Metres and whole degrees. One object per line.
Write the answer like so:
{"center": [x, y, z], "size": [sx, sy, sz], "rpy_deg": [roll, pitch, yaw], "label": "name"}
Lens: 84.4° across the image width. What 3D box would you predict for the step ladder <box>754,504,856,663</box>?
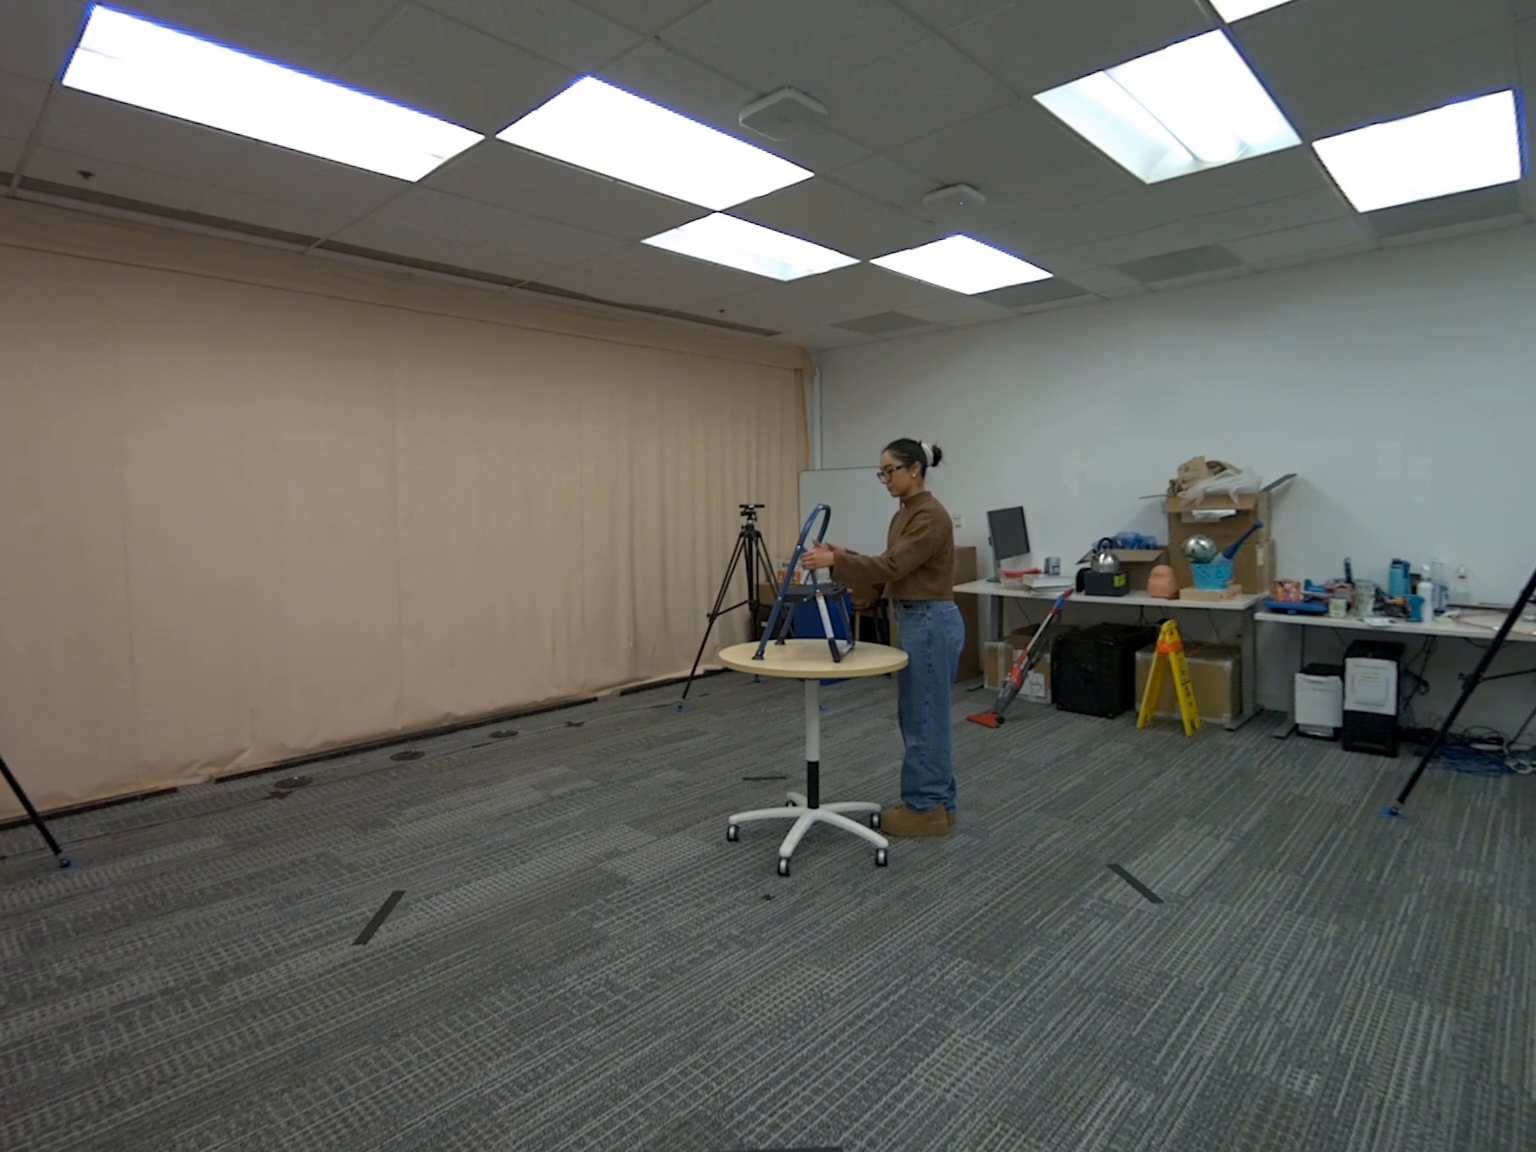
{"center": [0.163, 0.017, 3.450], "size": [0.355, 0.605, 0.423], "rpy_deg": [0, 2, 16], "label": "step ladder"}
